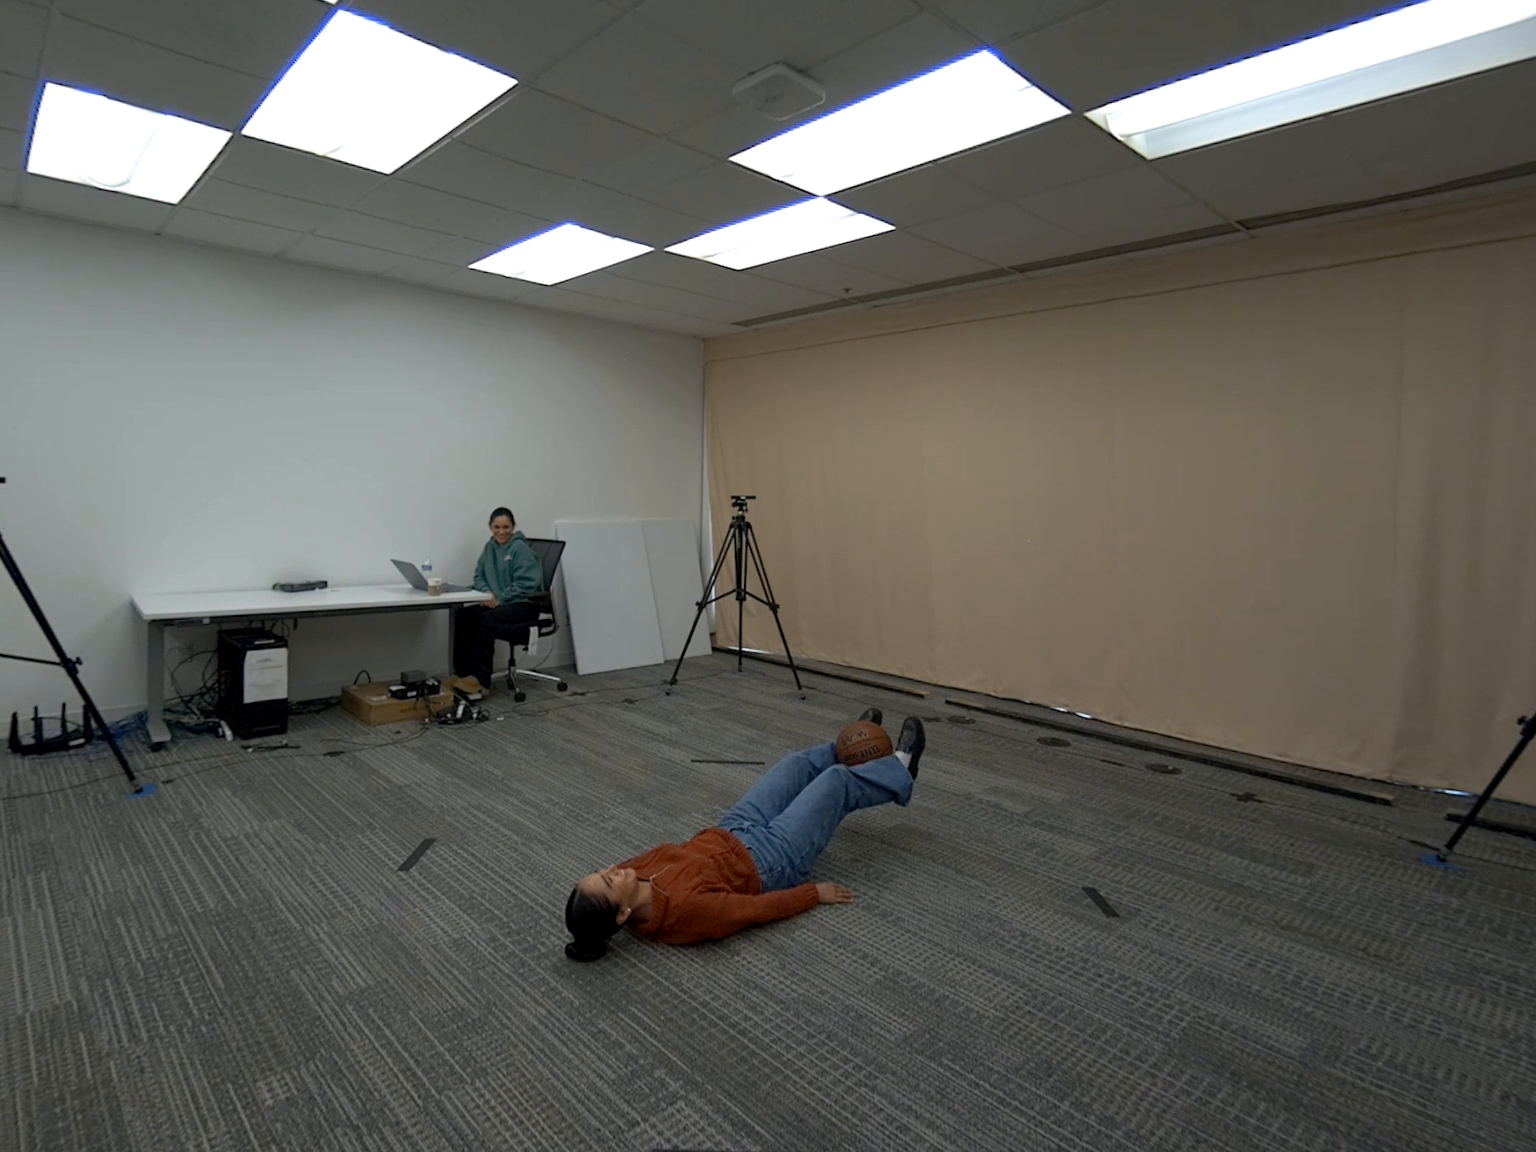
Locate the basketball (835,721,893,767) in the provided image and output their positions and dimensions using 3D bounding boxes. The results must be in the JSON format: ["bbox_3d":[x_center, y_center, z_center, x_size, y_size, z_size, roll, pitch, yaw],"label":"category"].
[{"bbox_3d":[0.389,0.721,3.485,0.236,0.235,0.237,1,4,-1],"label":"basketball"}]
